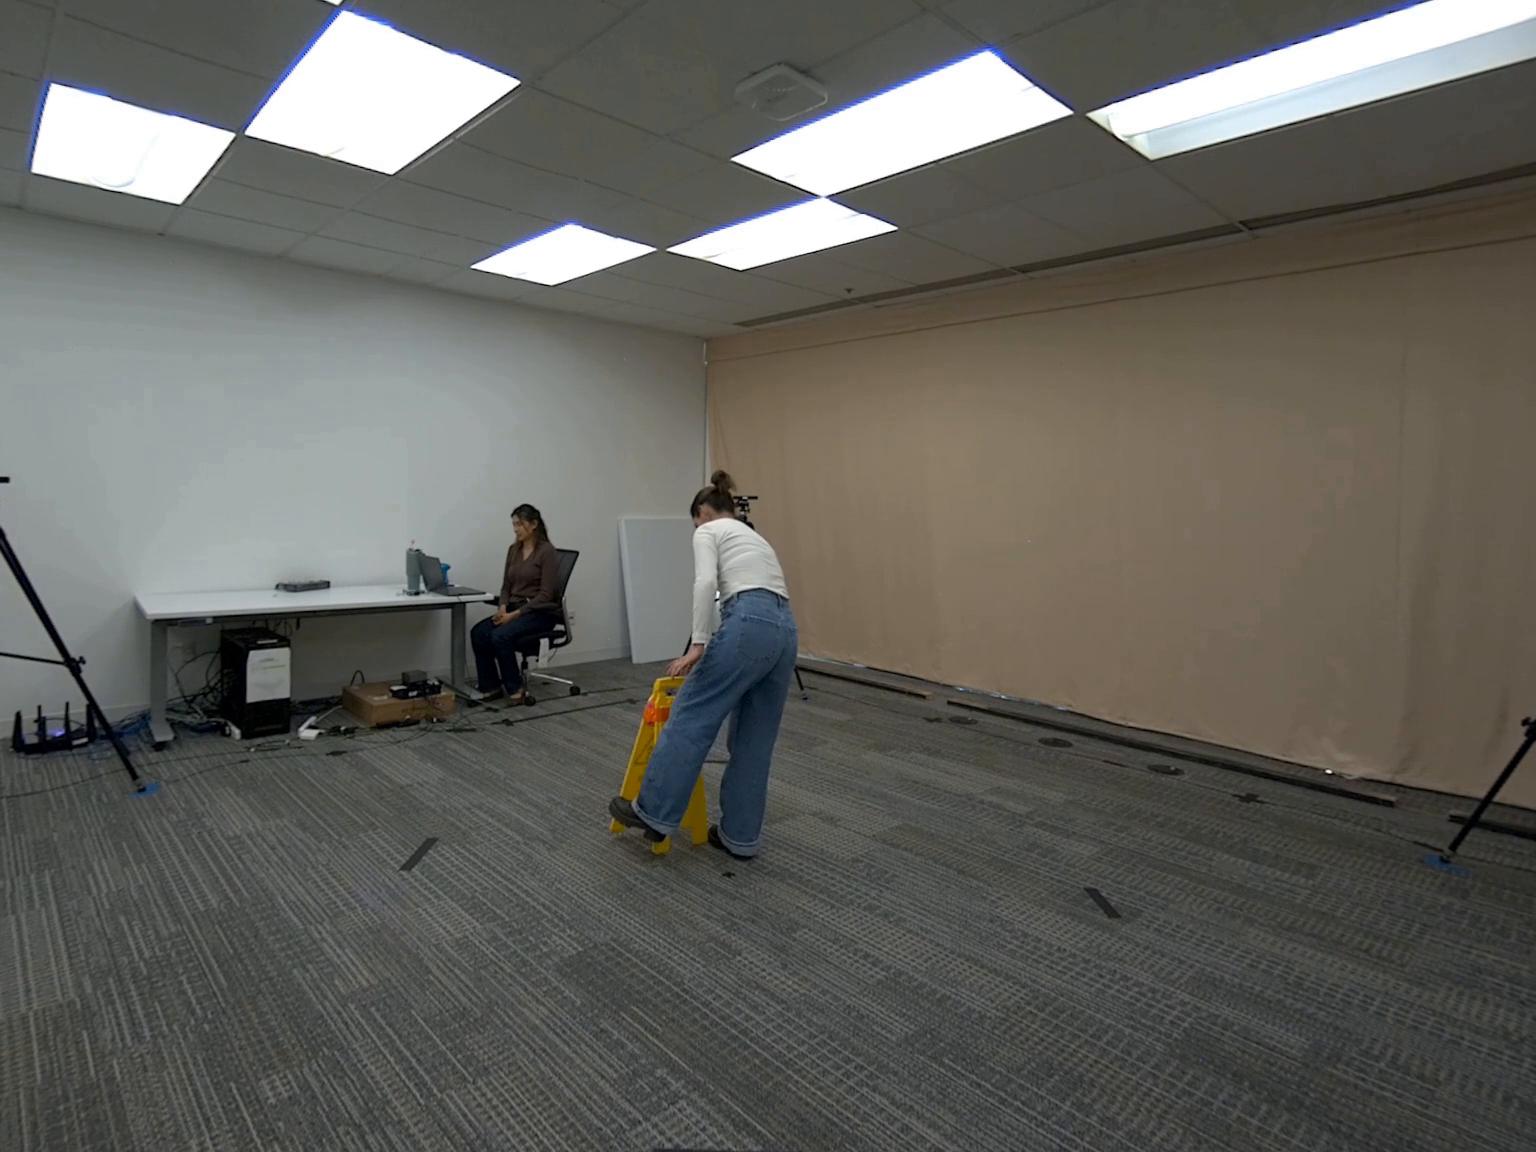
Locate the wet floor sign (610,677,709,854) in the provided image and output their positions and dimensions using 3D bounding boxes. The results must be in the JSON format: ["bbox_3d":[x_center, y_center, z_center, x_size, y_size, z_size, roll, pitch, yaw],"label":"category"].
[{"bbox_3d":[-0.413,0.734,3.396,0.297,0.647,0.275,3,-2,43],"label":"wet floor sign"}]
